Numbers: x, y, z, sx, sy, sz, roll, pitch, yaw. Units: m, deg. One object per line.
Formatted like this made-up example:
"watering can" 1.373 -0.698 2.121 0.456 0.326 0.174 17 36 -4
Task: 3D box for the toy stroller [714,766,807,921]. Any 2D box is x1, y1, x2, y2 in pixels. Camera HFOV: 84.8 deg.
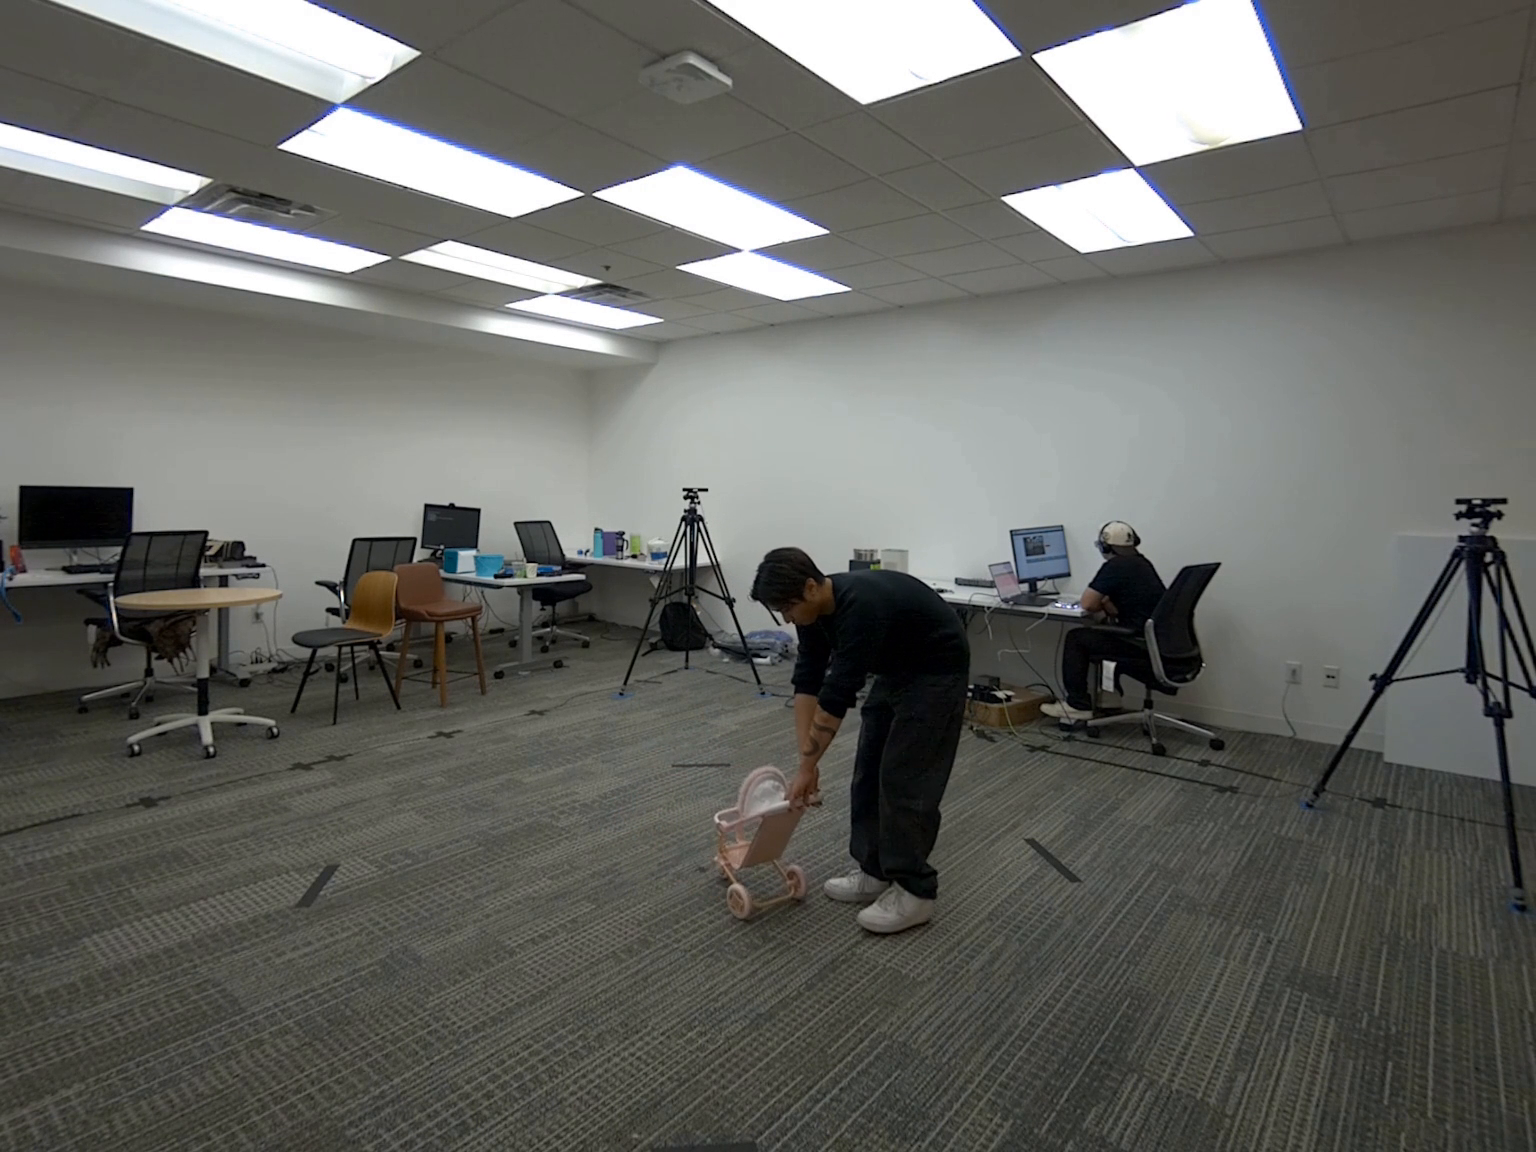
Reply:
"toy stroller" -0.036 0.872 2.873 0.273 0.528 0.356 0 21 -34
